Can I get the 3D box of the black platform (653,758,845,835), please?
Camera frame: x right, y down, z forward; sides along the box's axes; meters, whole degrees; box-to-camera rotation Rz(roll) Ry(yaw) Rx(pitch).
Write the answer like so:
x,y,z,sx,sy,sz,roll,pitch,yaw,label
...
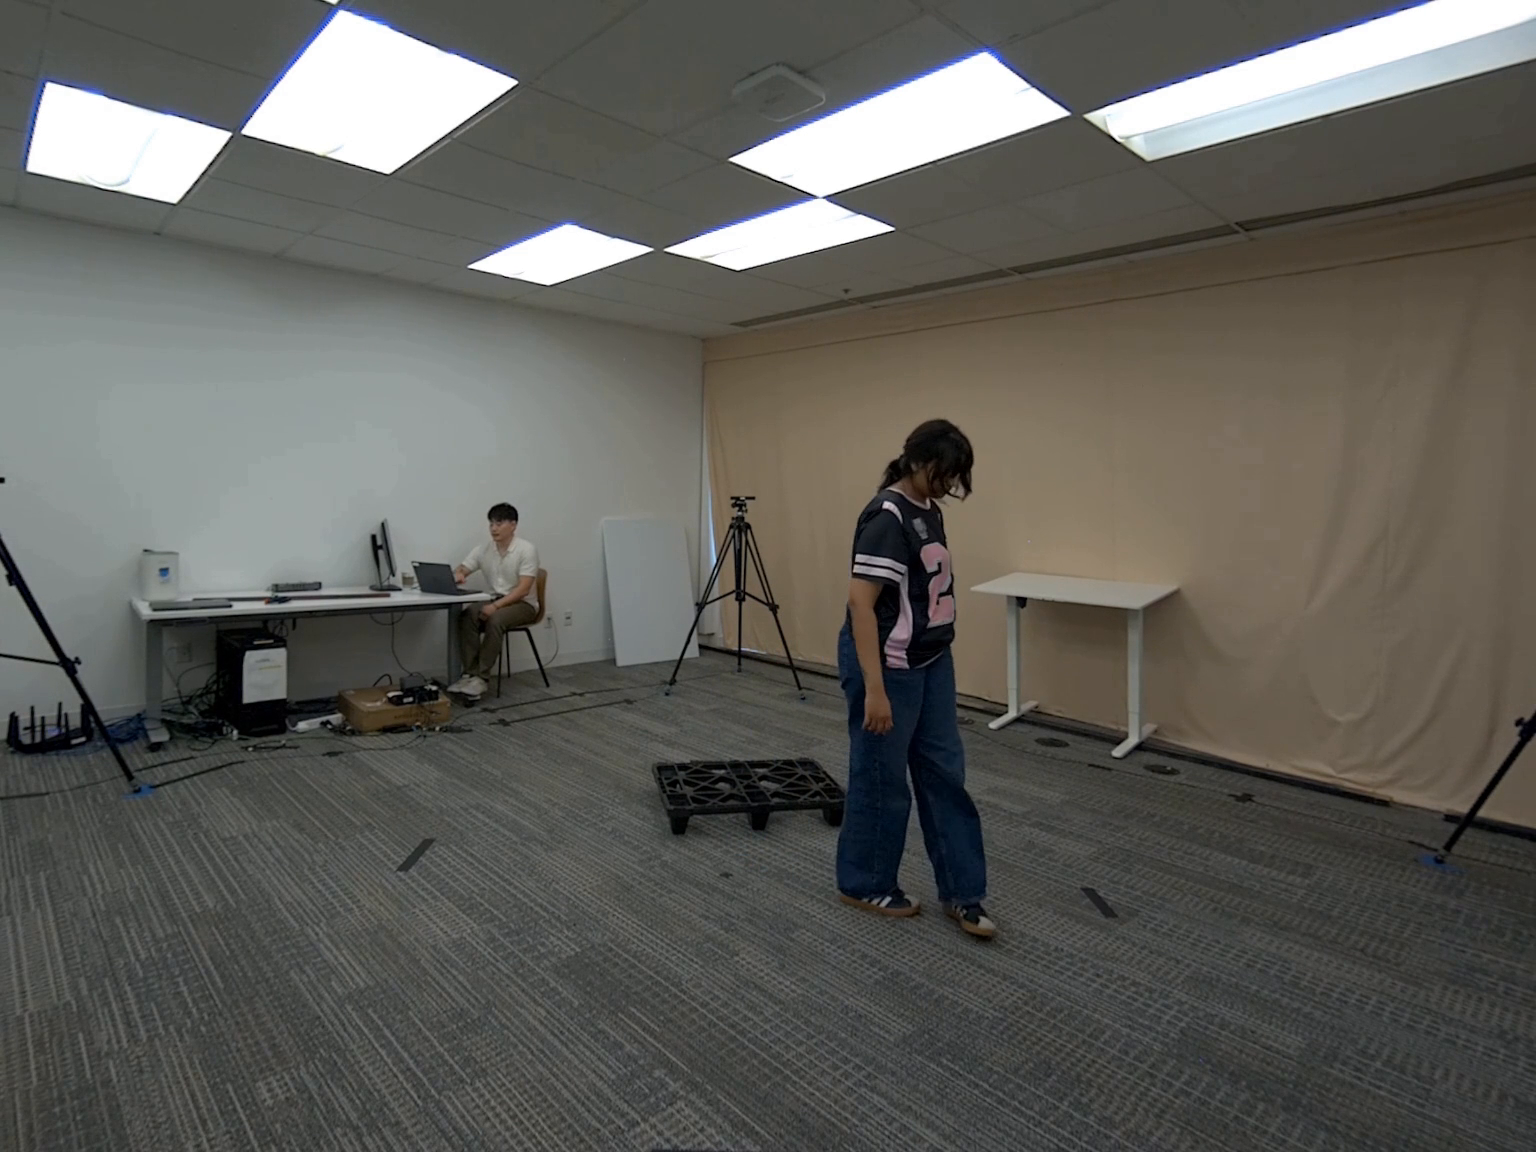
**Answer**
x,y,z,sx,sy,sz,roll,pitch,yaw,label
-0.095,0.982,3.764,0.798,0.143,0.613,0,6,-13,black platform
